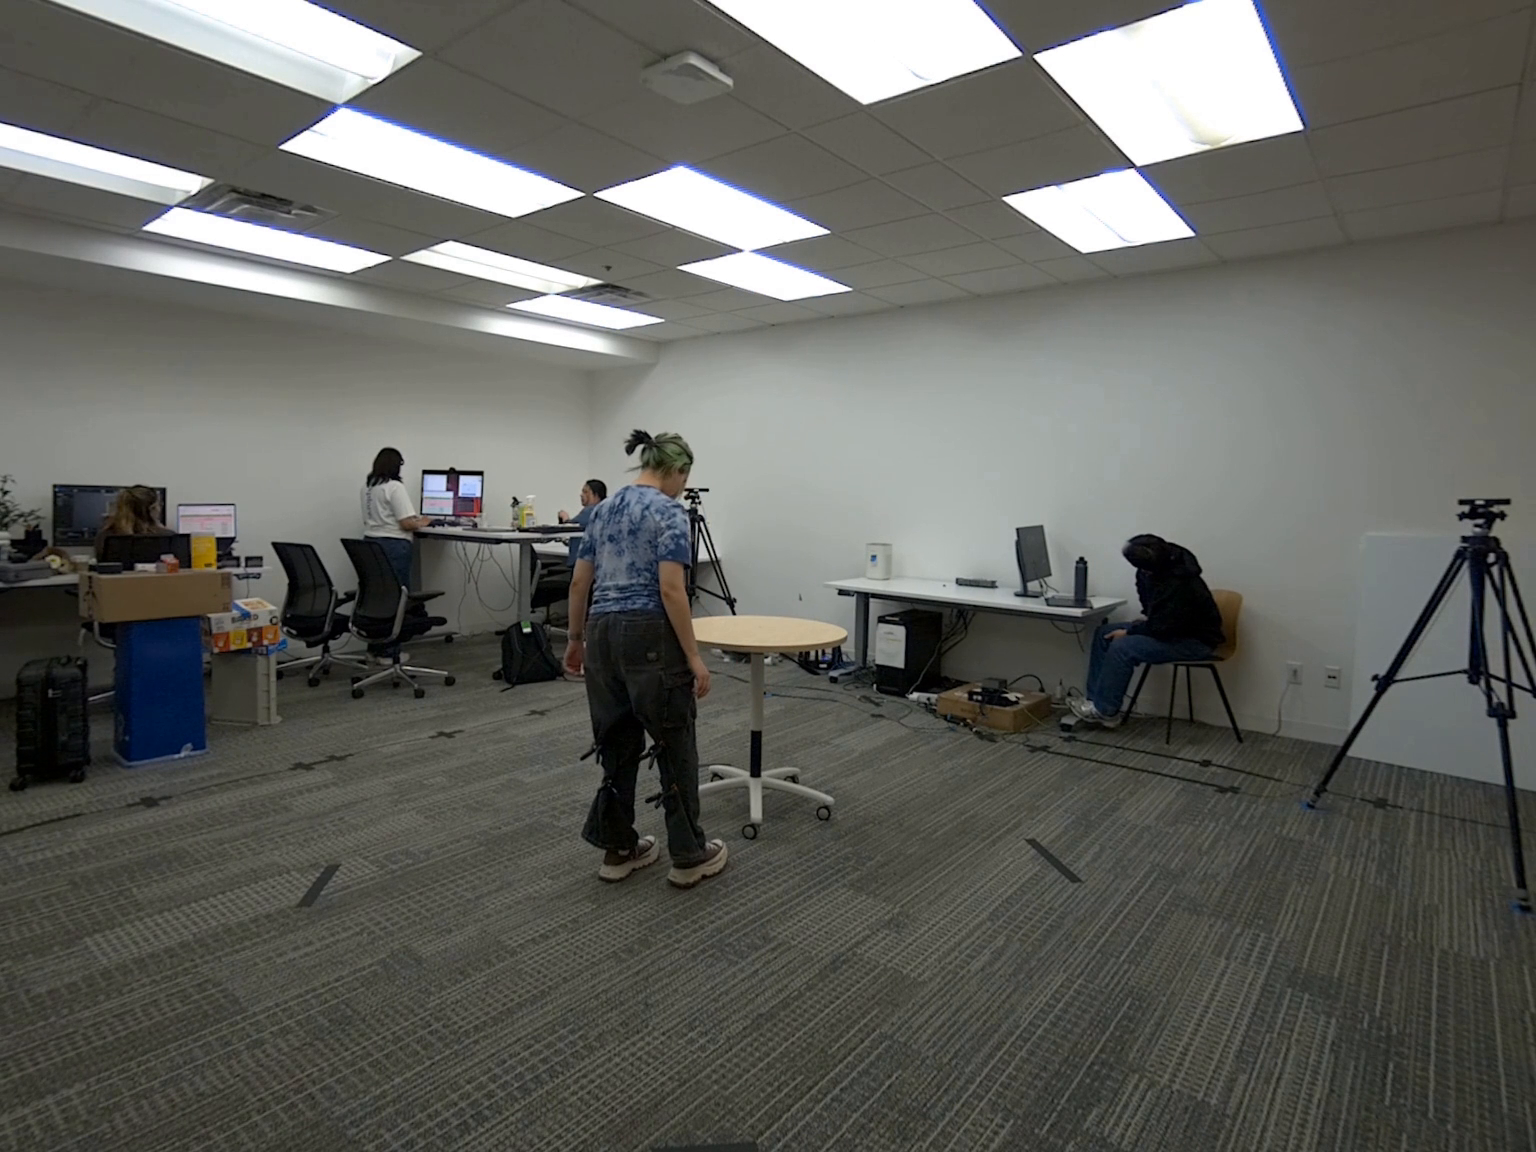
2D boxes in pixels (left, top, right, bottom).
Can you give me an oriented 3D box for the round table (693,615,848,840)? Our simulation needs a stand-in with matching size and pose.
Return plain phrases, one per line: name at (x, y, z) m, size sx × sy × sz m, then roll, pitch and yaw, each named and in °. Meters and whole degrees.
round table at (-0.055, 0.626, 3.710) m, size 0.763 × 0.791 × 0.768 m, roll 1°, pitch 4°, yaw -2°
